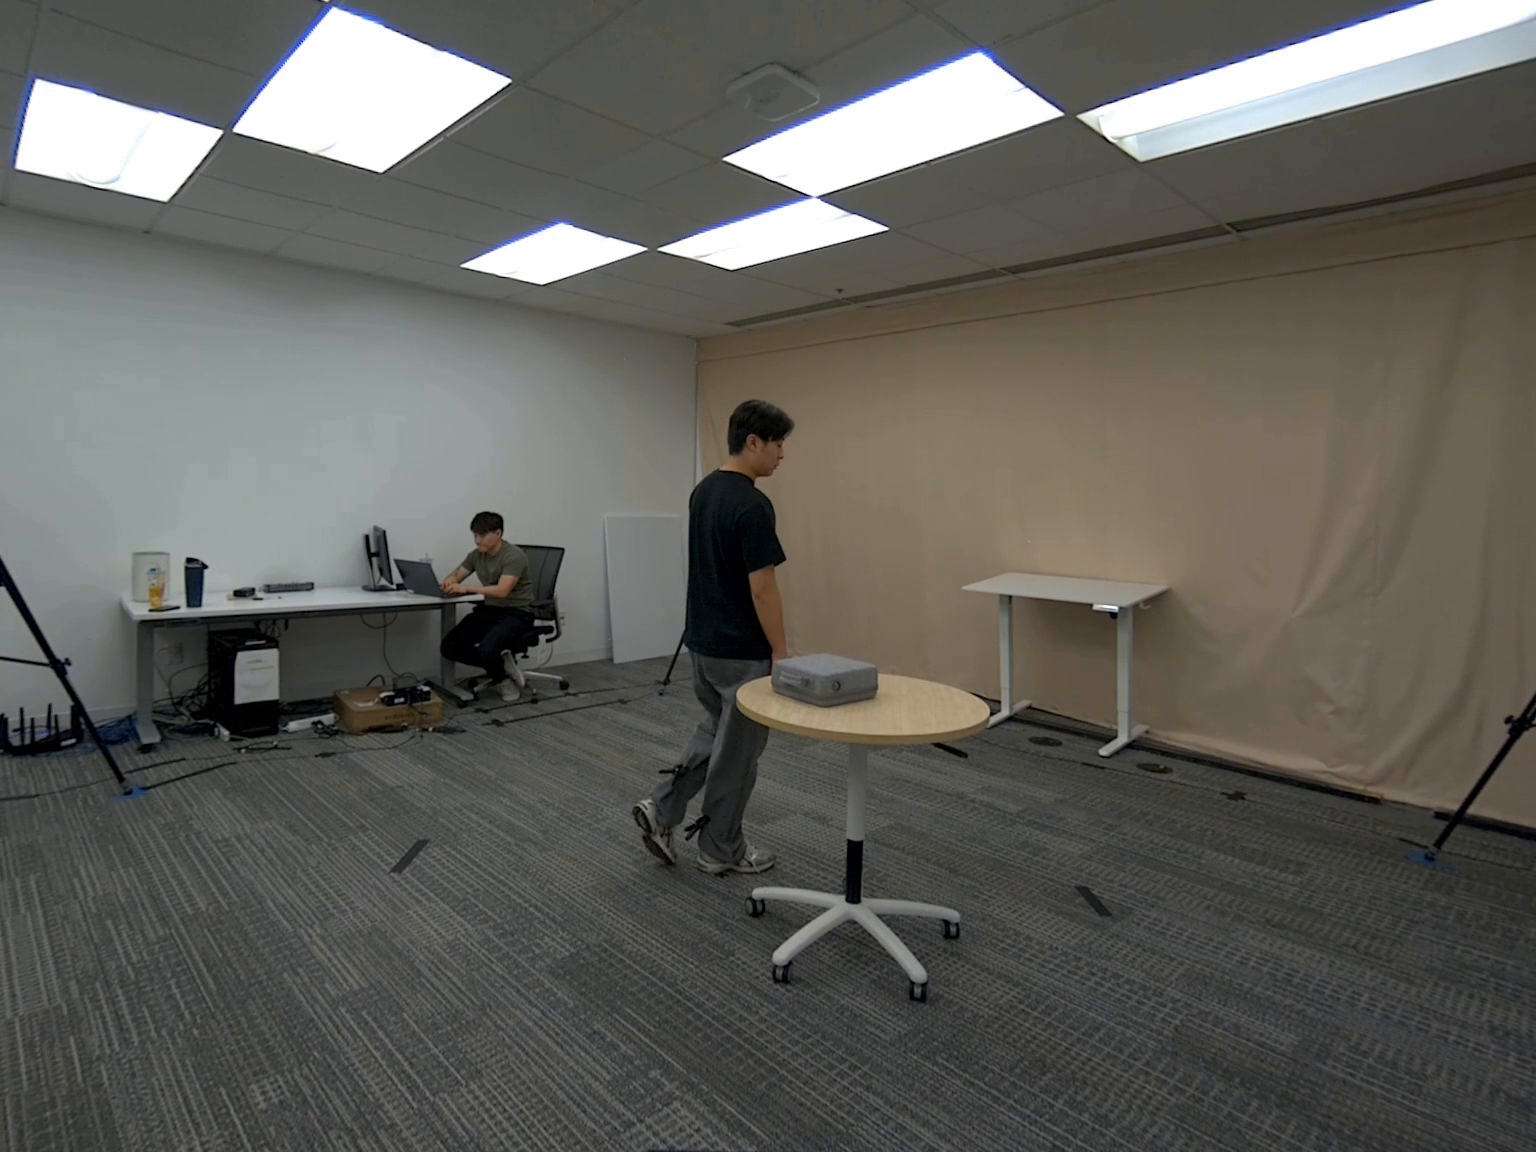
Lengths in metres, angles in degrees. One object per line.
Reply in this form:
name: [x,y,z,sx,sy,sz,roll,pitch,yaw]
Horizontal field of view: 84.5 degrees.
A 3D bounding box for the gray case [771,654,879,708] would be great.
gray case: [0.163,0.322,2.615,0.281,0.102,0.270,-3,8,-42]
